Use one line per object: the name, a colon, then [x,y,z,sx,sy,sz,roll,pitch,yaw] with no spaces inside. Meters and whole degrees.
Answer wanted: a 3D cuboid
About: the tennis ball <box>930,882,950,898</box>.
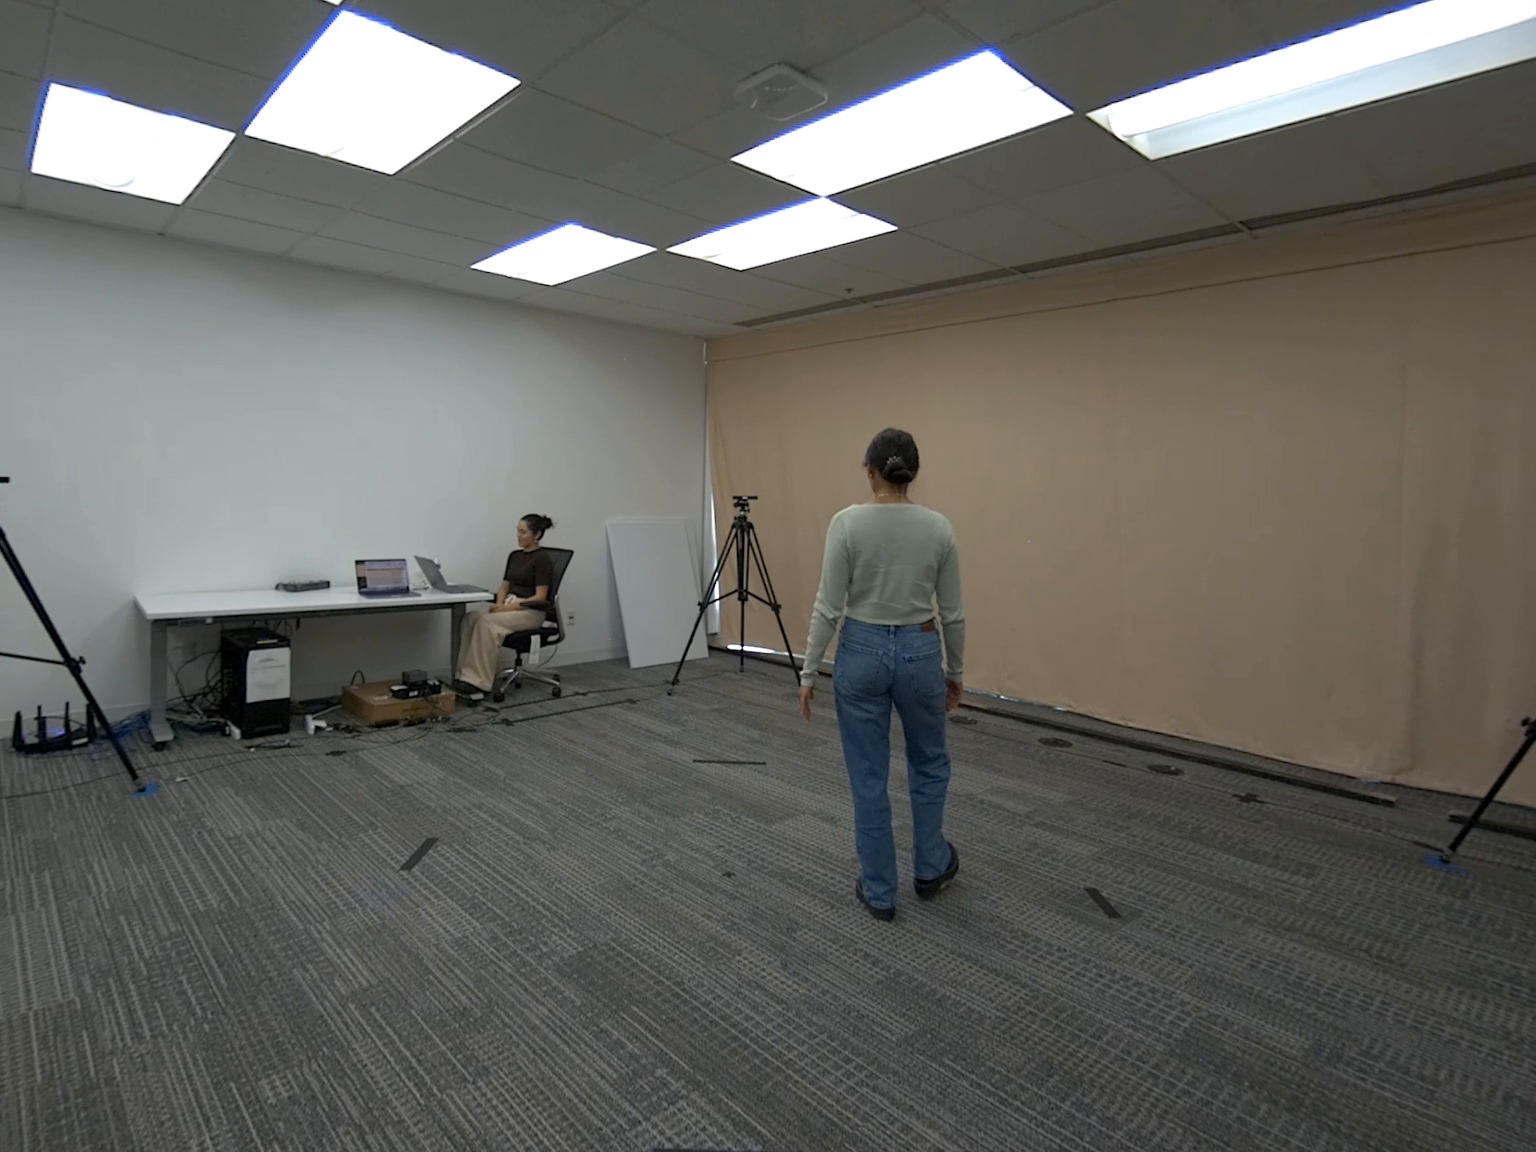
tennis ball: [0.608,1.105,3.039,0.066,0.066,0.067,1,4,-1]
